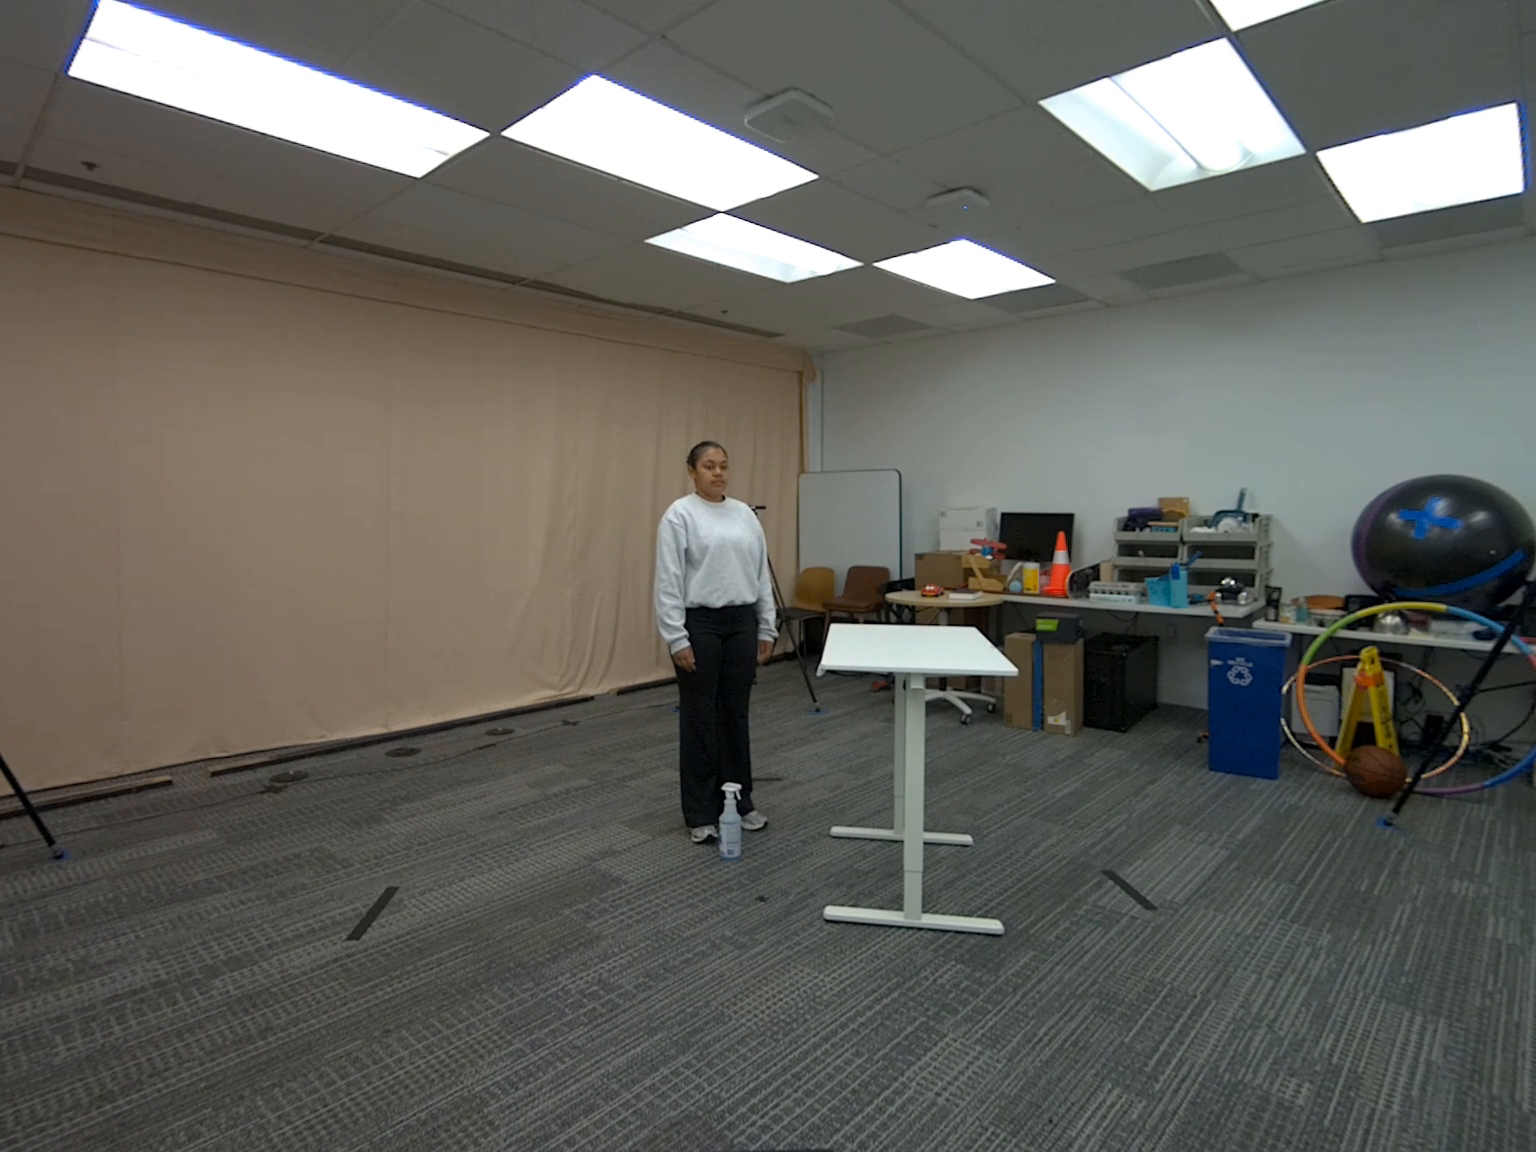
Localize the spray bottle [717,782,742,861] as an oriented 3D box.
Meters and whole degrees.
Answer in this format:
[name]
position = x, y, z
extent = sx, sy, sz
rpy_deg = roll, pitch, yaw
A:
[spray bottle]
position = -0.148, 0.960, 3.332
extent = 0.085, 0.296, 0.093
rpy_deg = -2, 7, -28
